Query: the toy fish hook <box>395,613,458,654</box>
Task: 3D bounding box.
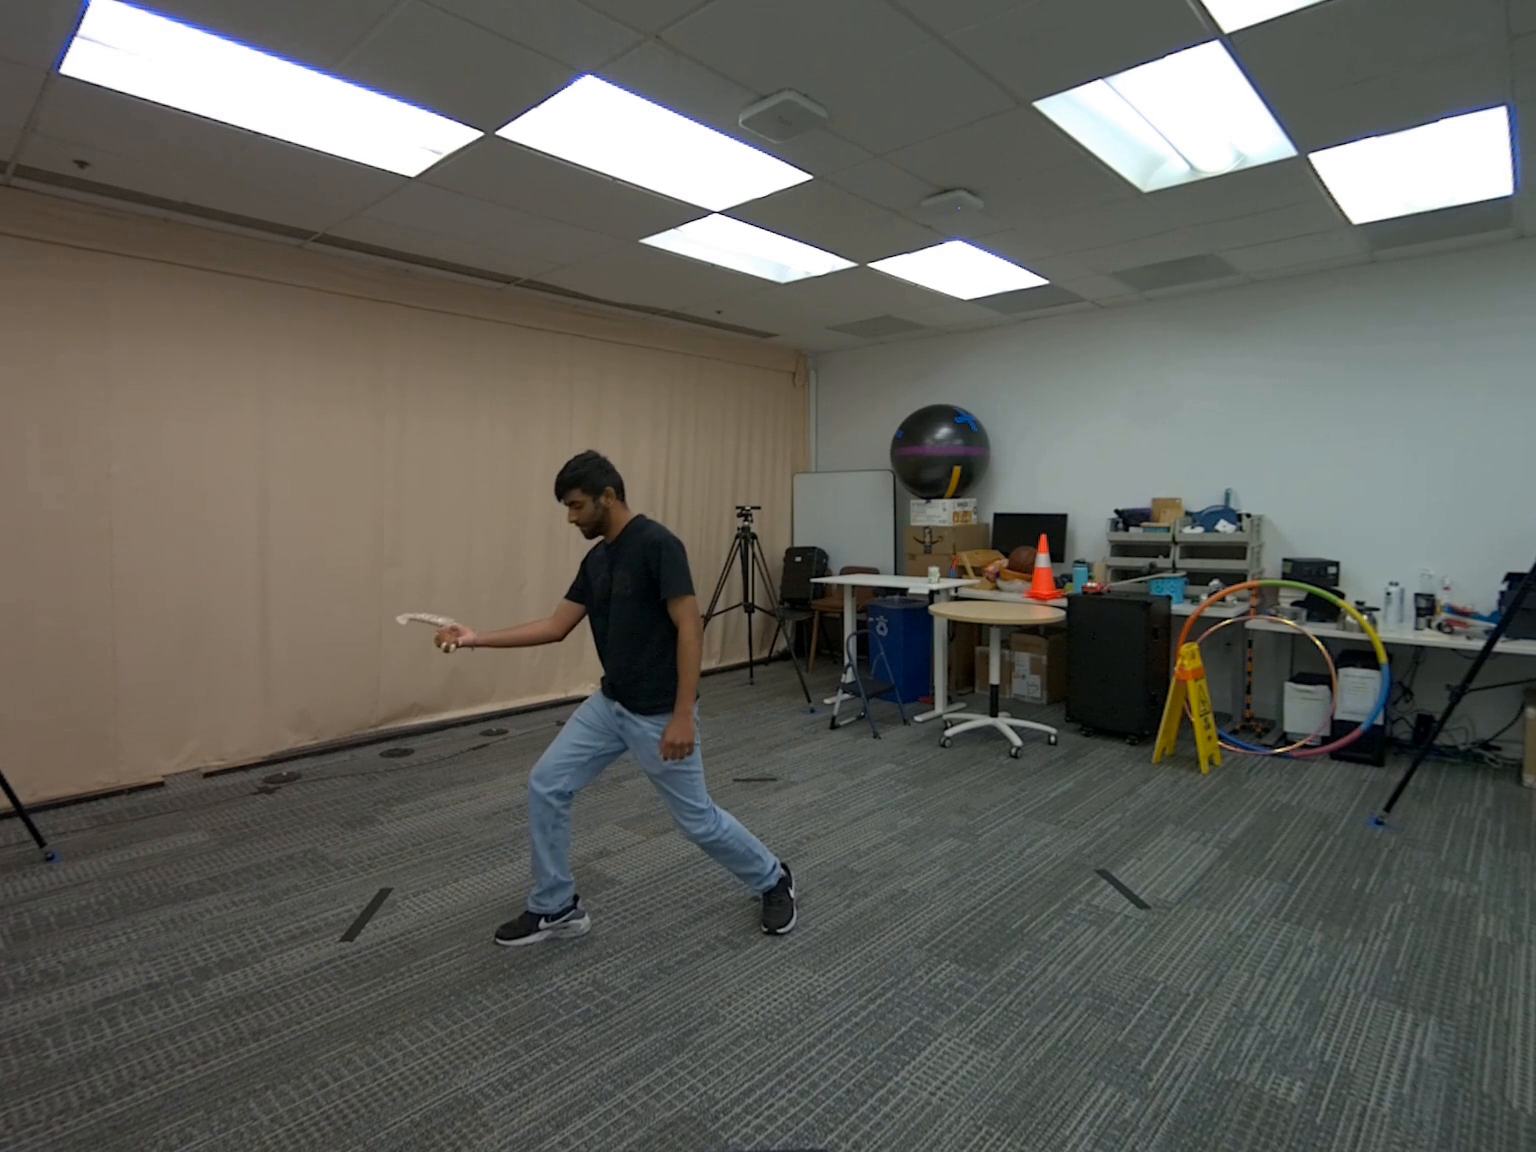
[{"bbox_3d":[-1.107,0.188,2.786,0.220,0.048,0.518,8,3,-21],"label":"toy fish hook"}]
